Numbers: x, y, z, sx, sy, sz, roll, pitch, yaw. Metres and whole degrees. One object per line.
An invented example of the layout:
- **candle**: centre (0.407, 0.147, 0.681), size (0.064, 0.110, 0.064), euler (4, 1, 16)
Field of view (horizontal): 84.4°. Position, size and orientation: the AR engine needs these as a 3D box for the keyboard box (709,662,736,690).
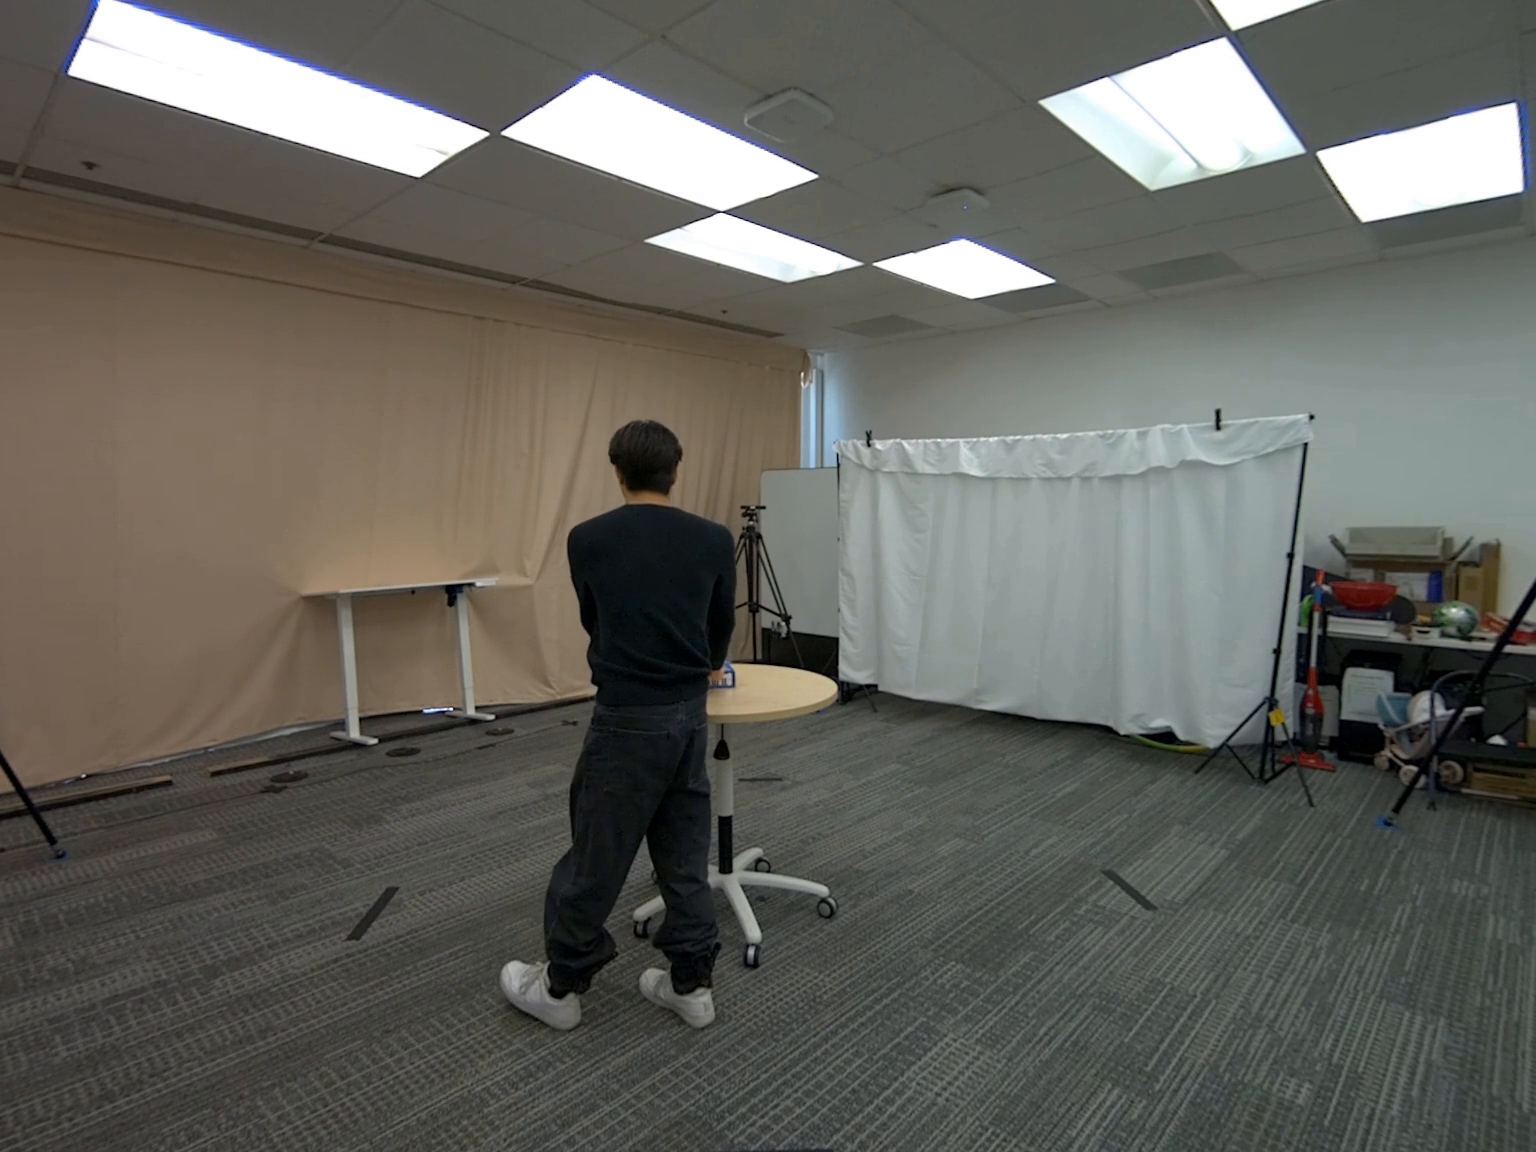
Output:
- **keyboard box**: centre (-0.334, 0.345, 2.861), size (0.432, 0.059, 0.178), euler (-1, 4, -11)
